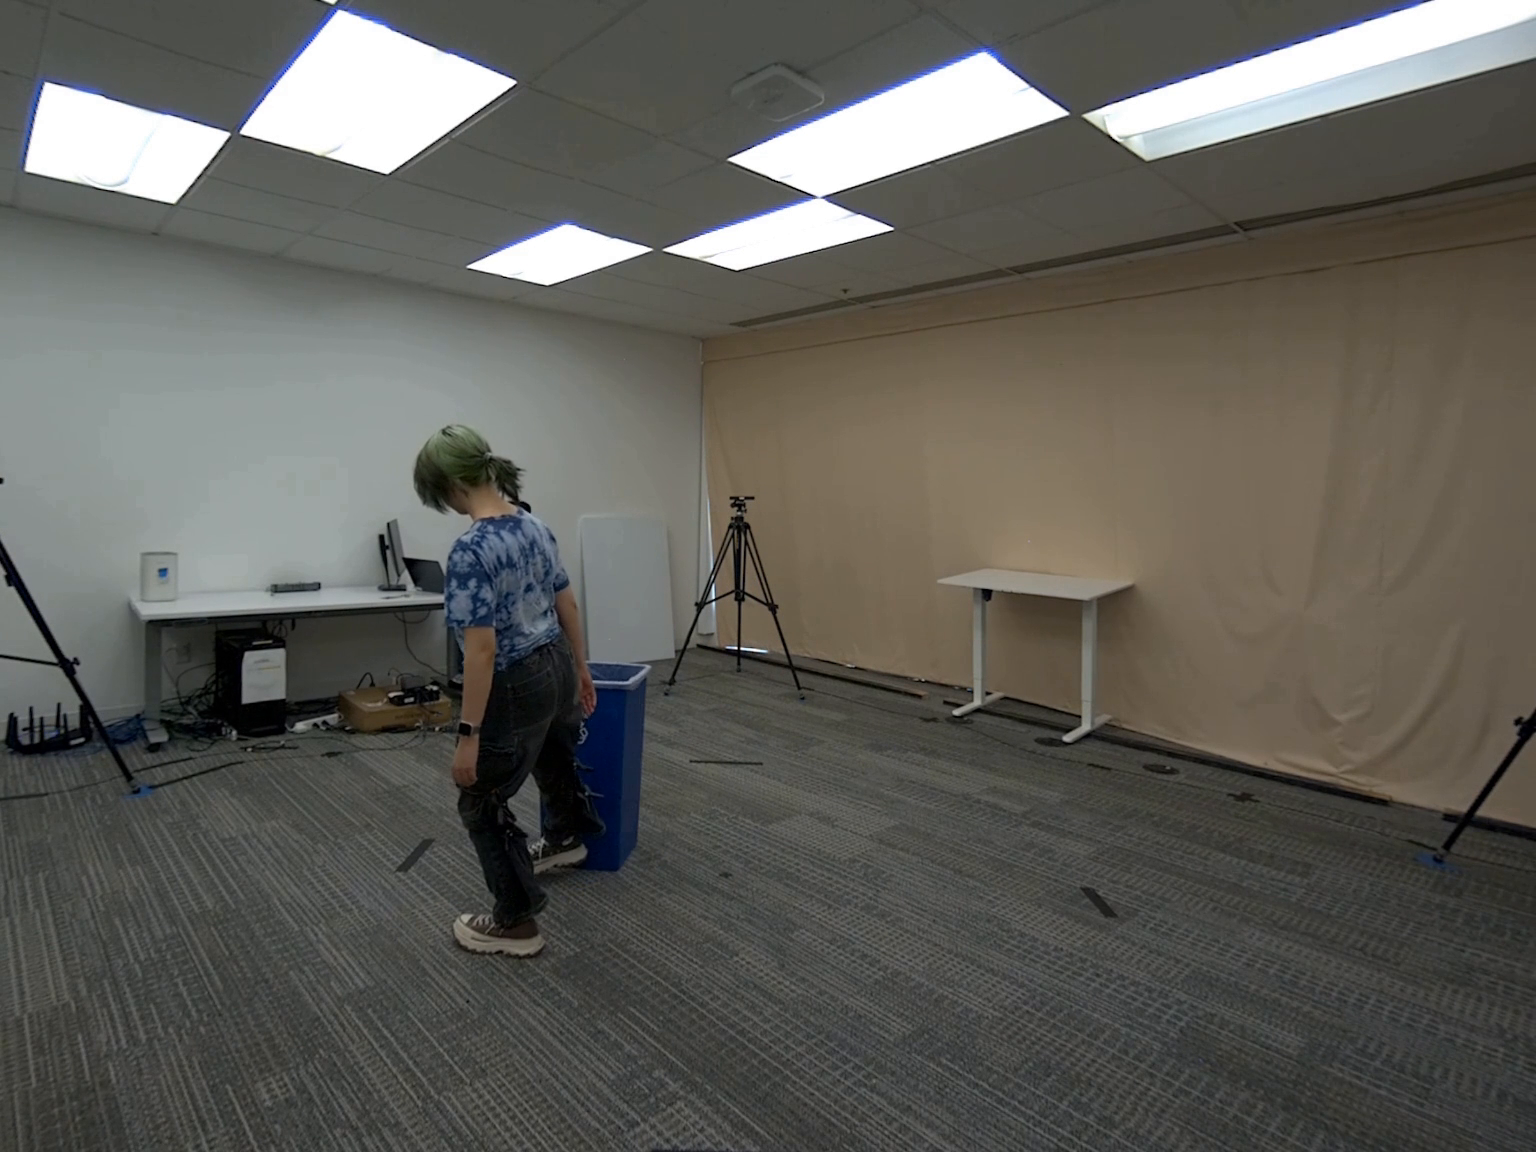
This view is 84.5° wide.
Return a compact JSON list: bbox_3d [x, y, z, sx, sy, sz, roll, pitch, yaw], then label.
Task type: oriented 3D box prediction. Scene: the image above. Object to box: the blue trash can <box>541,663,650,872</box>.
[{"bbox_3d":[-0.681,0.725,3.249,0.376,0.712,0.377,2,3,6],"label":"blue trash can"}]
